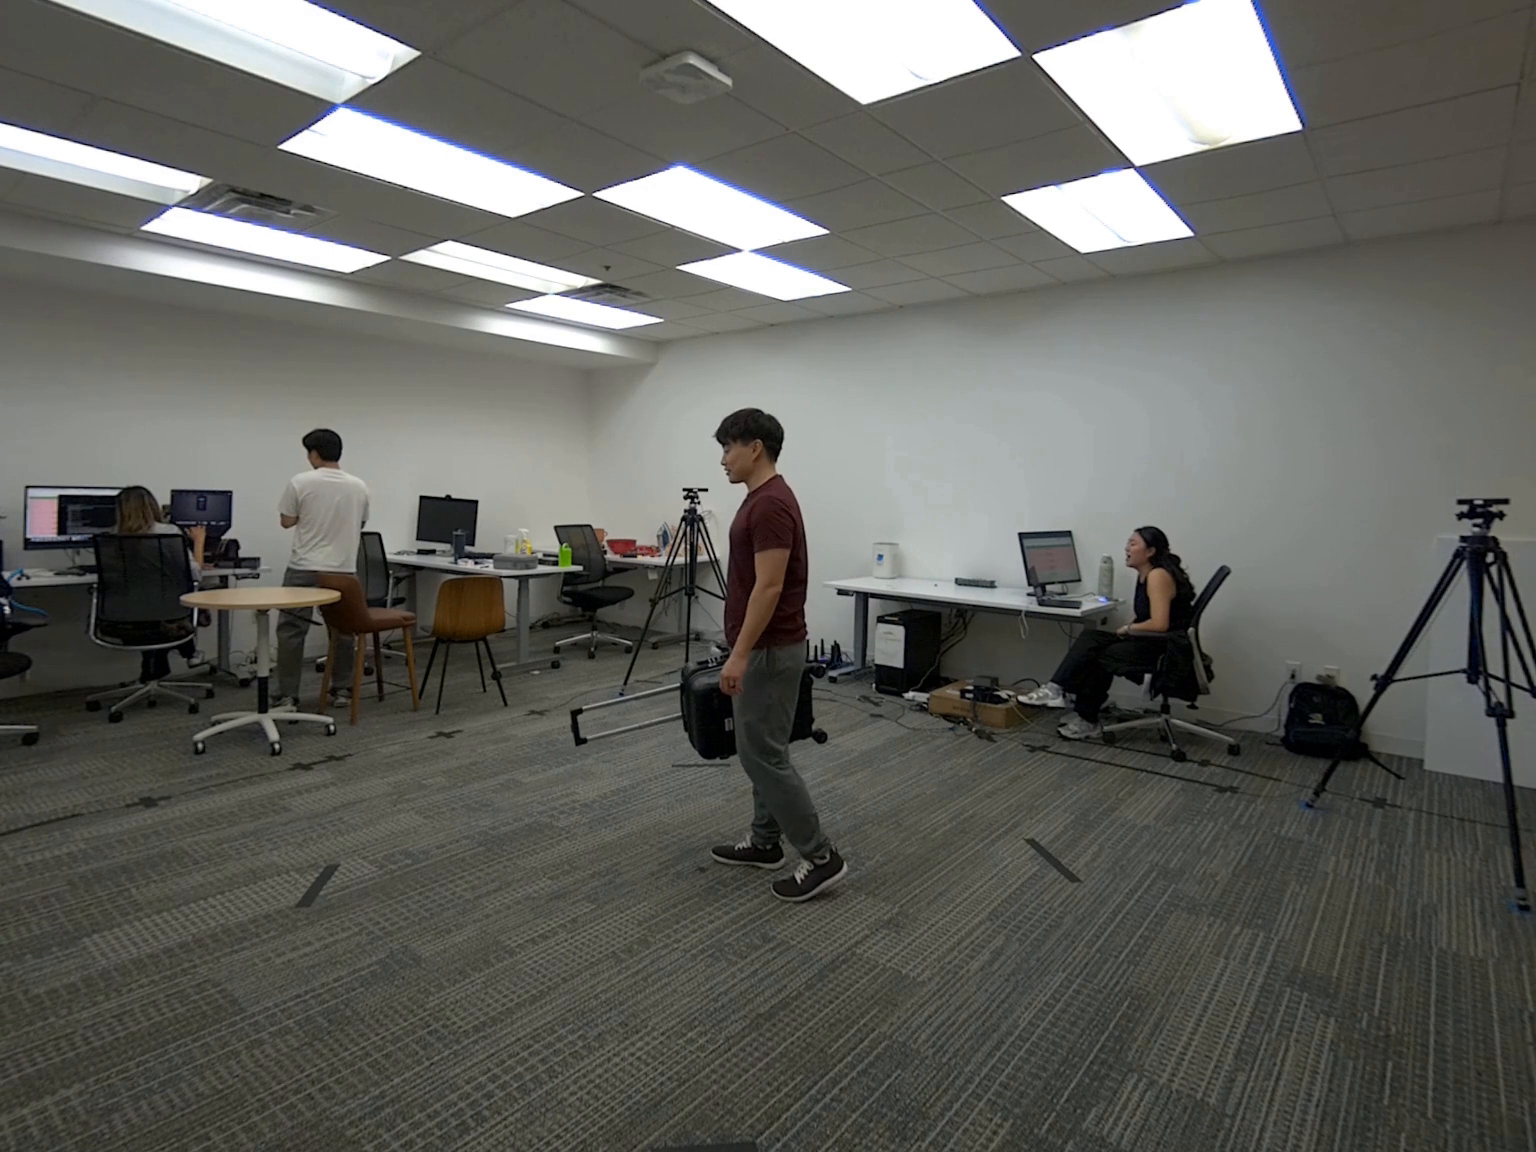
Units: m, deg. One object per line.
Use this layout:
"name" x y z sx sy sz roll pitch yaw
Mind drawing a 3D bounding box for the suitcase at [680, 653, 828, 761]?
"suitcase" -0.278 0.523 3.344 0.964 0.377 0.265 -10 18 -18
